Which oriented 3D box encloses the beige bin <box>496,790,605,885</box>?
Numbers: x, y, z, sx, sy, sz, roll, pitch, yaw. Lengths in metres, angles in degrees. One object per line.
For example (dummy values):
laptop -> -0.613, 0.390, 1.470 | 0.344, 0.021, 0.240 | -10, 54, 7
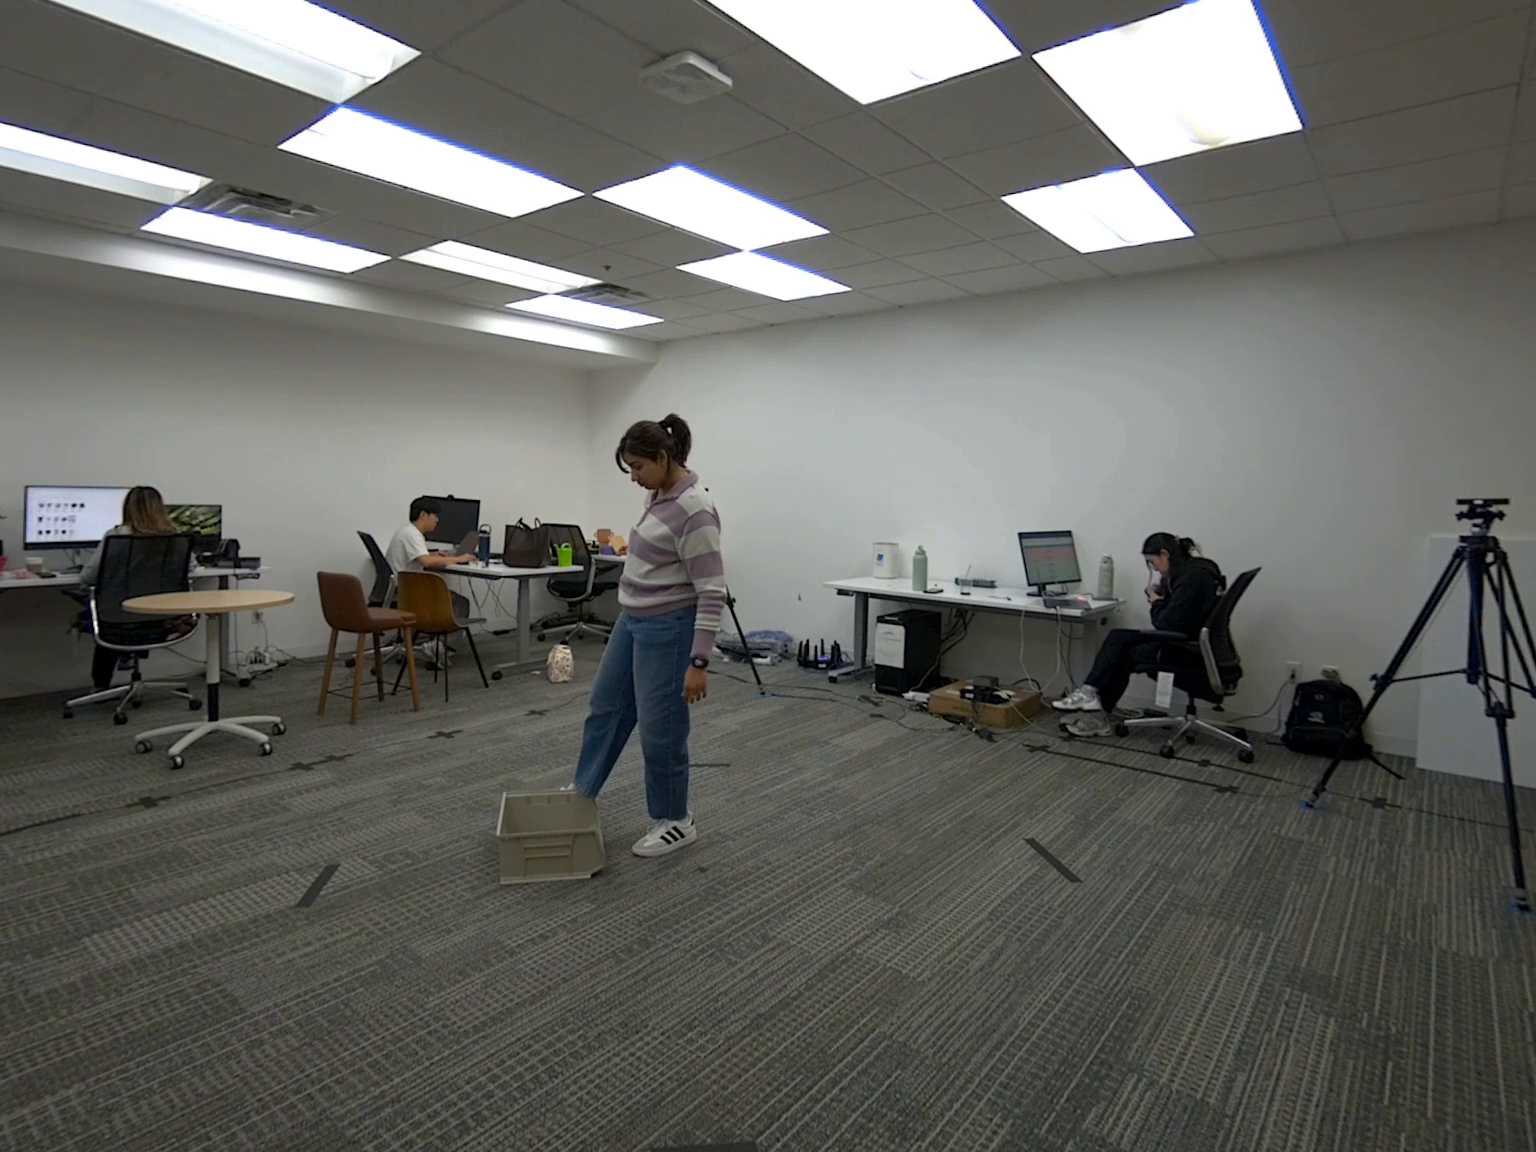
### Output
beige bin -> -0.824, 0.969, 3.179 | 0.372, 0.188, 0.430 | 0, 5, -13
